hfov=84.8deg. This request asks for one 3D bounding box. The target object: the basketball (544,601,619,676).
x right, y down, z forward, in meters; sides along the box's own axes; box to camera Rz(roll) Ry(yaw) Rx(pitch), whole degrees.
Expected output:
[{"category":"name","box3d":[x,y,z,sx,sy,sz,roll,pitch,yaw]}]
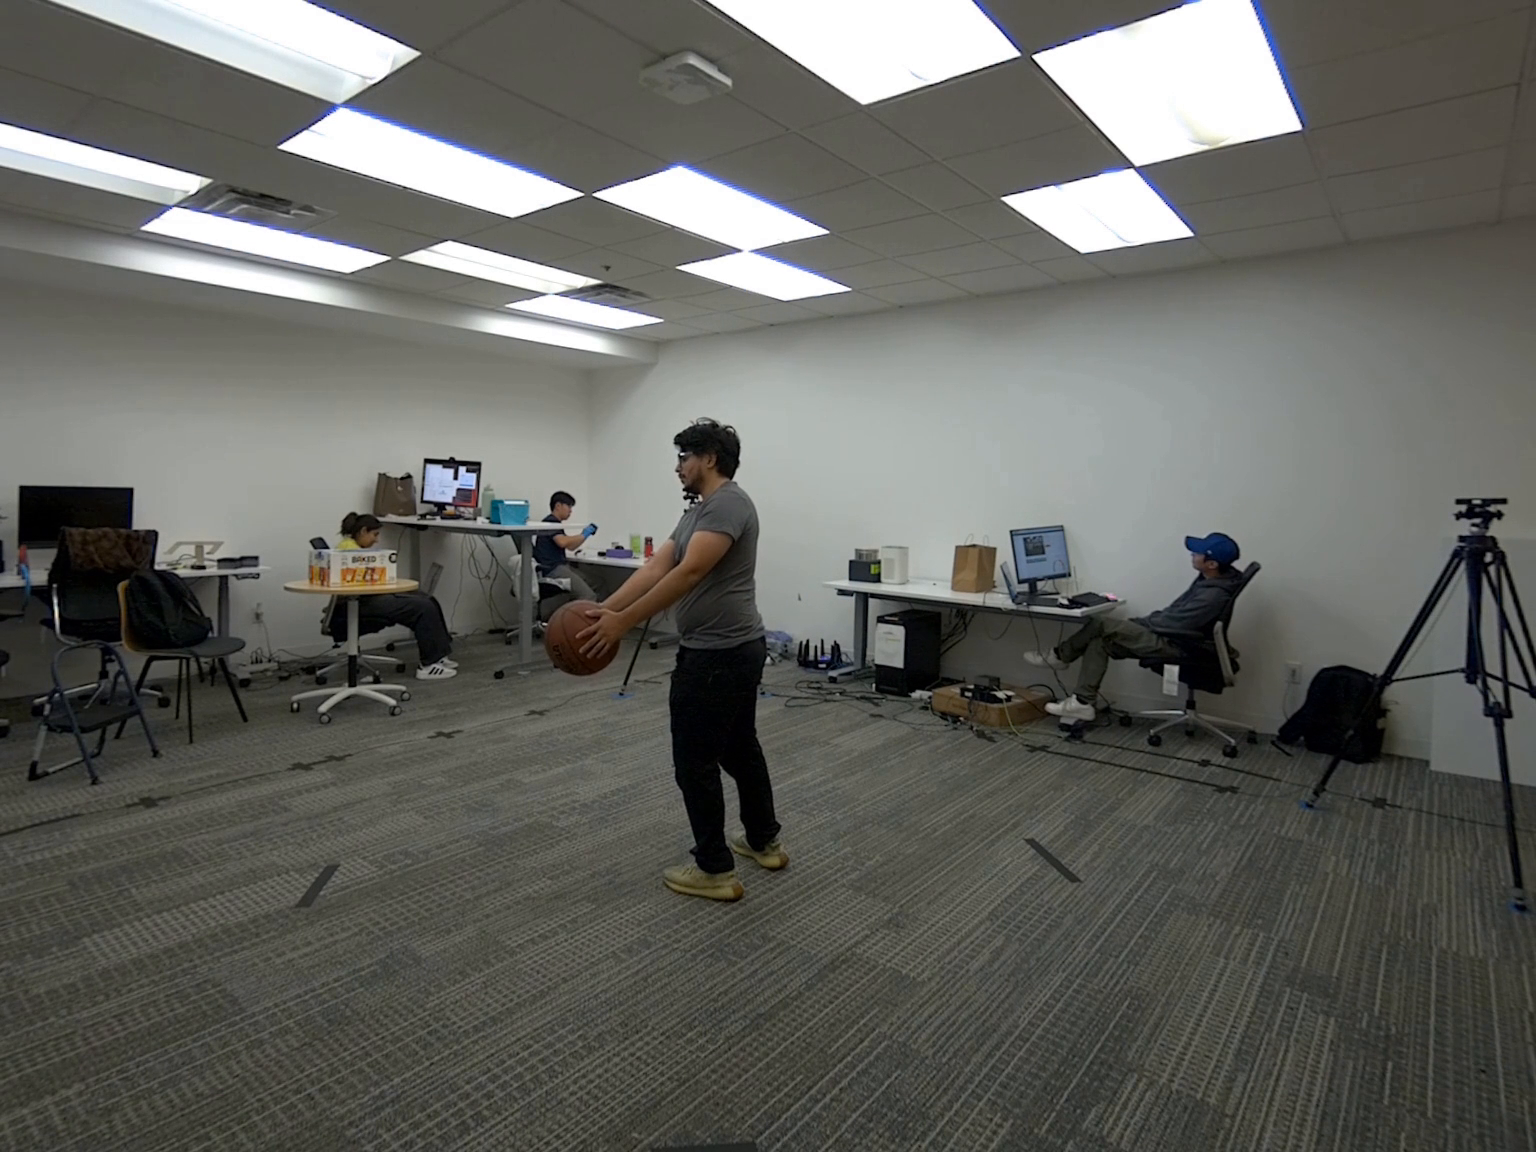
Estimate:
[{"category":"basketball","box3d":[-0.600,0.193,2.700,0.235,0.235,0.237,1,4,-2]}]
